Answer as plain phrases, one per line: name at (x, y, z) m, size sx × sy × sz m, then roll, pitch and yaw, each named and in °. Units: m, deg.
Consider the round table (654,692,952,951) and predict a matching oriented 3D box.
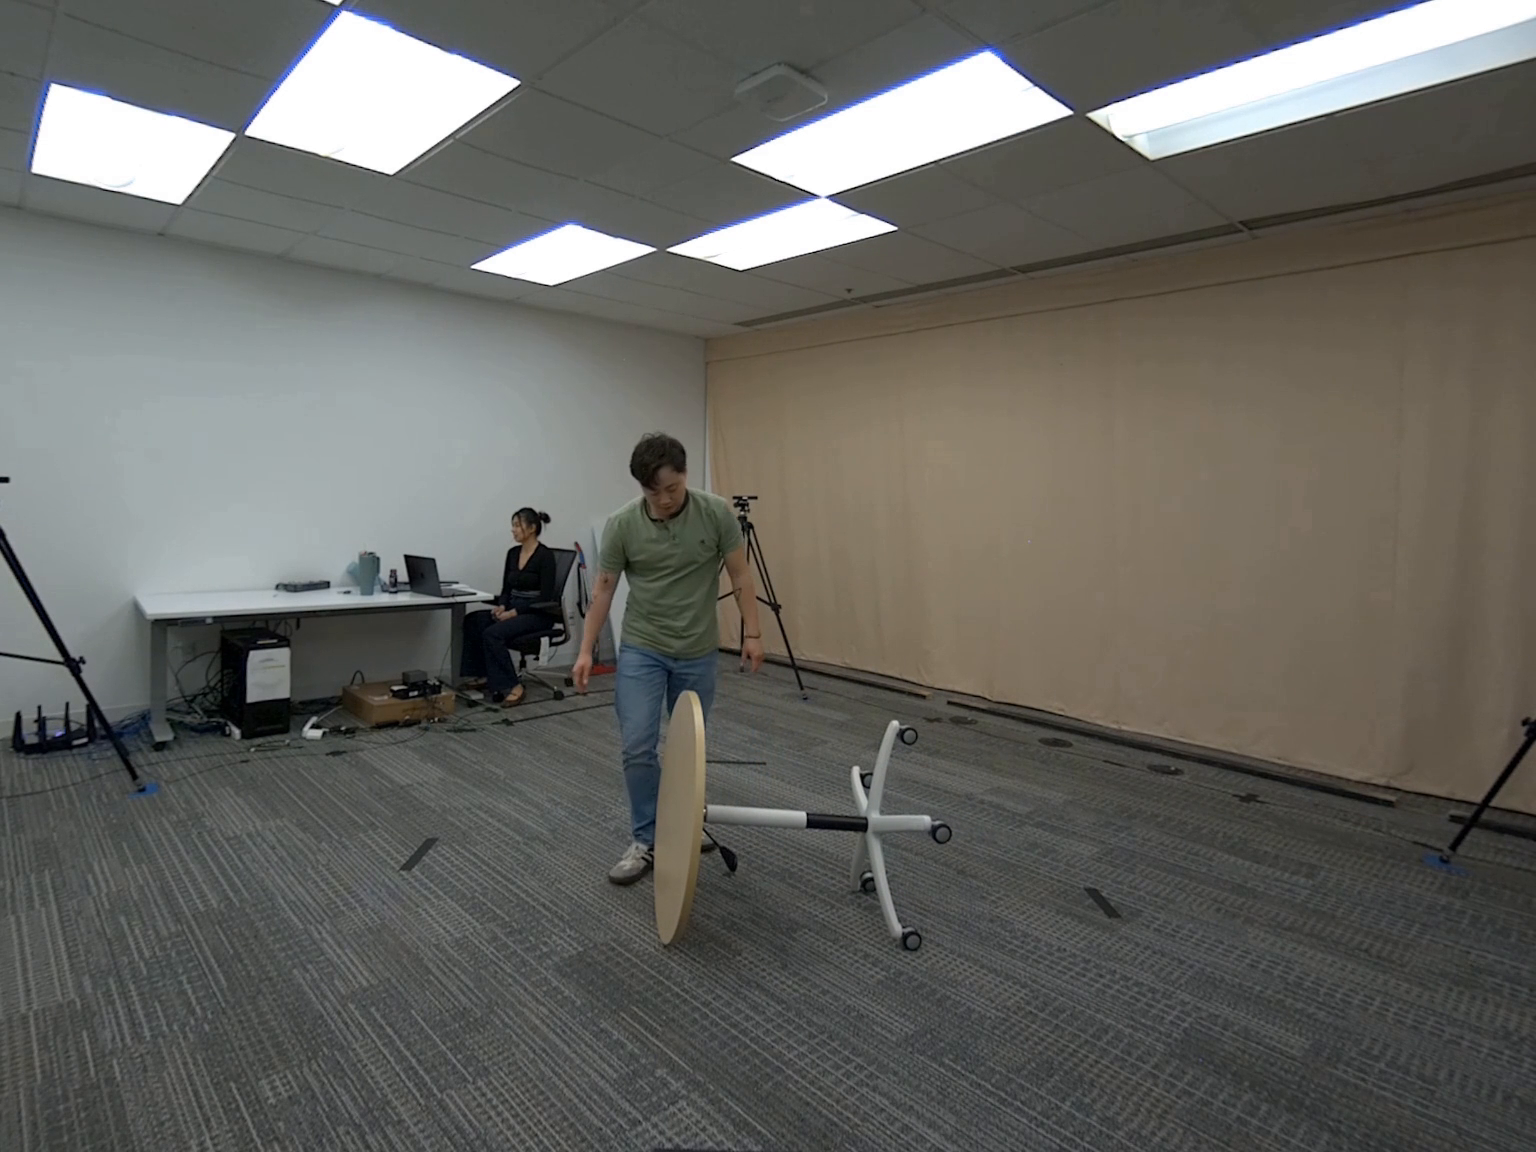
round table at (0.076, 0.804, 2.757) m, size 0.786 × 0.763 × 0.773 m, roll 7°, pitch 3°, yaw -13°
